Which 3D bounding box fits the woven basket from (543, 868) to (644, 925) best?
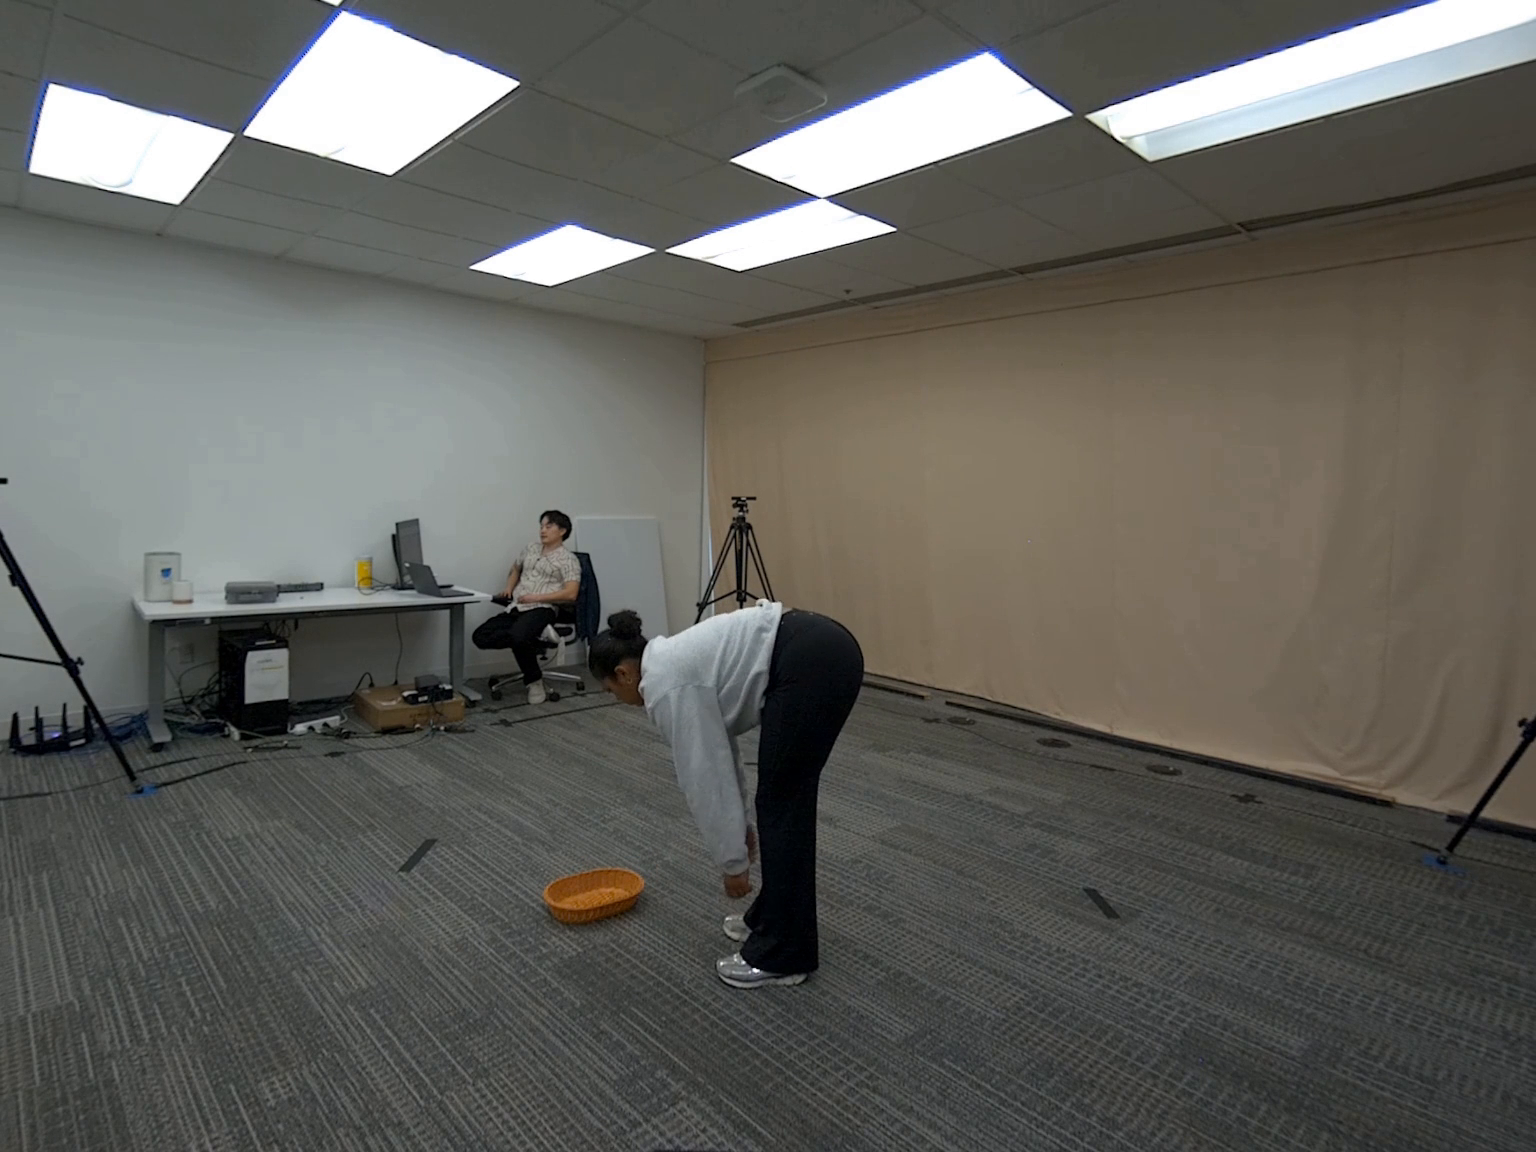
[{"bbox_3d":[-0.593,1.081,2.845,0.343,0.073,0.258,-2,6,-32],"label":"woven basket"}]
